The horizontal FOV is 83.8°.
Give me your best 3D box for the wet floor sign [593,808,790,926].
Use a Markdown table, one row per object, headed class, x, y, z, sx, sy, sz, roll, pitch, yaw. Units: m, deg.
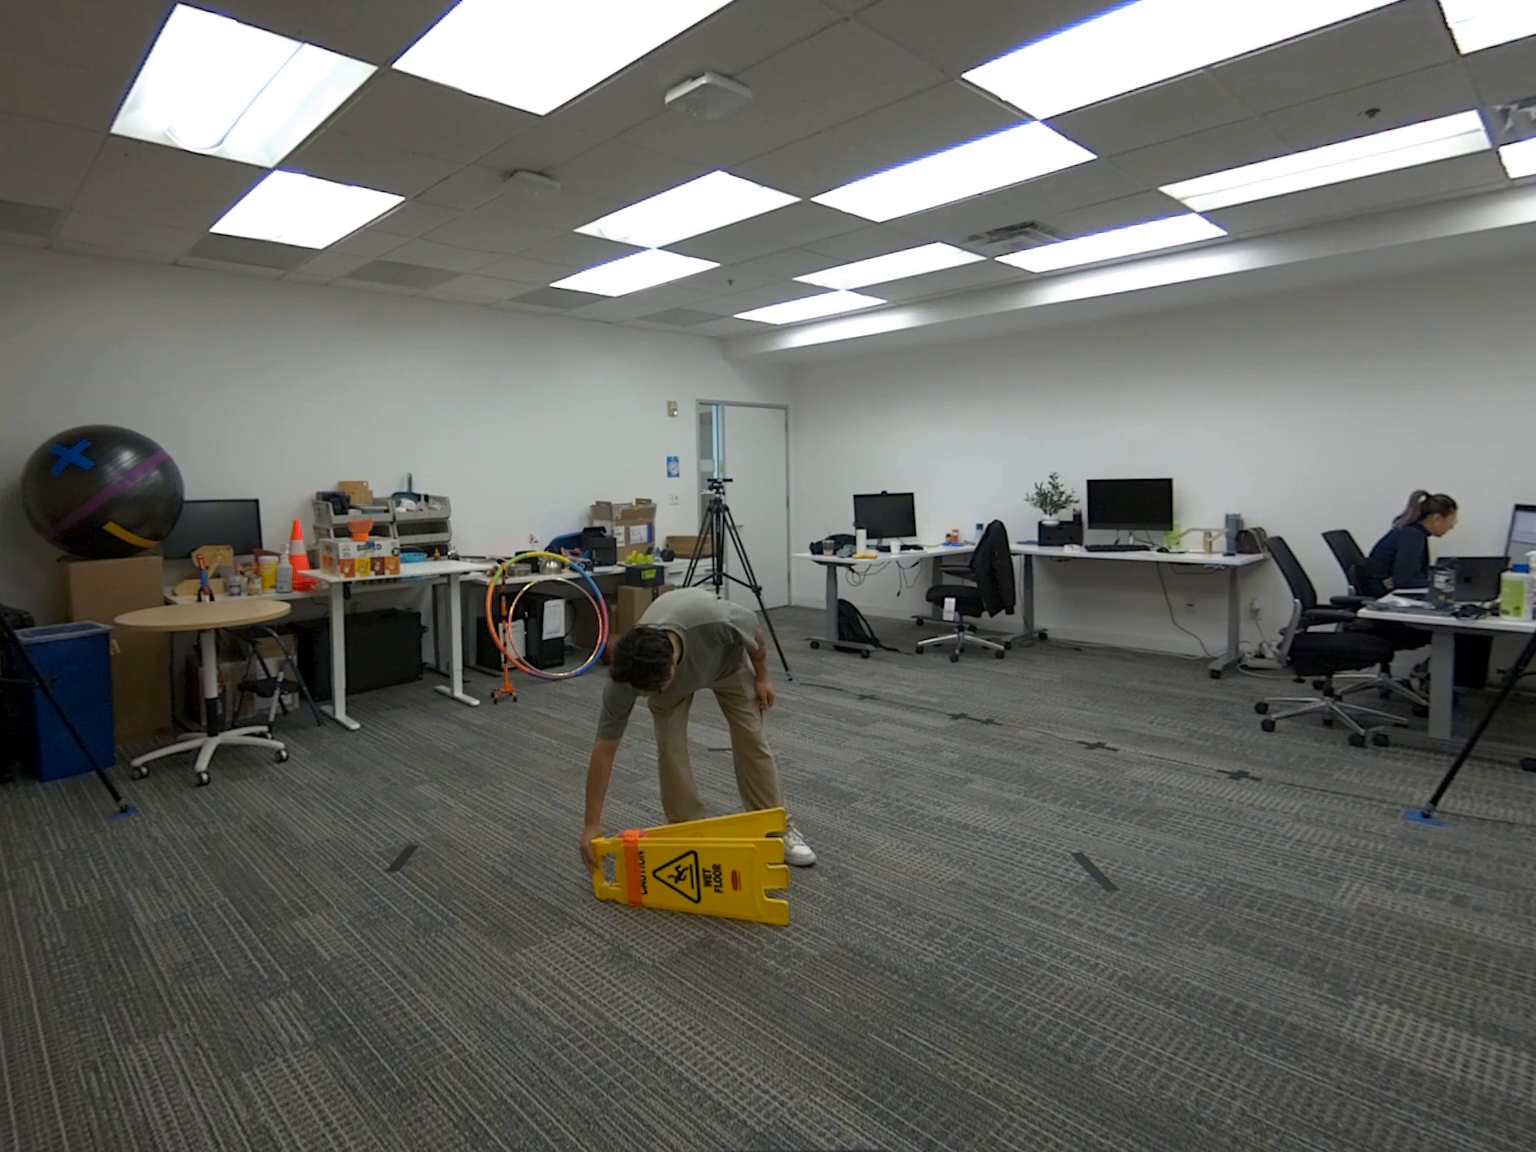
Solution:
| class | x | y | z | sx | sy | sz | roll | pitch | yaw |
| --- | --- | --- | --- | --- | --- | --- | --- | --- | --- |
| wet floor sign | -0.259 | 0.959 | 2.820 | 0.649 | 0.281 | 0.289 | -4 | 4 | 5 |
